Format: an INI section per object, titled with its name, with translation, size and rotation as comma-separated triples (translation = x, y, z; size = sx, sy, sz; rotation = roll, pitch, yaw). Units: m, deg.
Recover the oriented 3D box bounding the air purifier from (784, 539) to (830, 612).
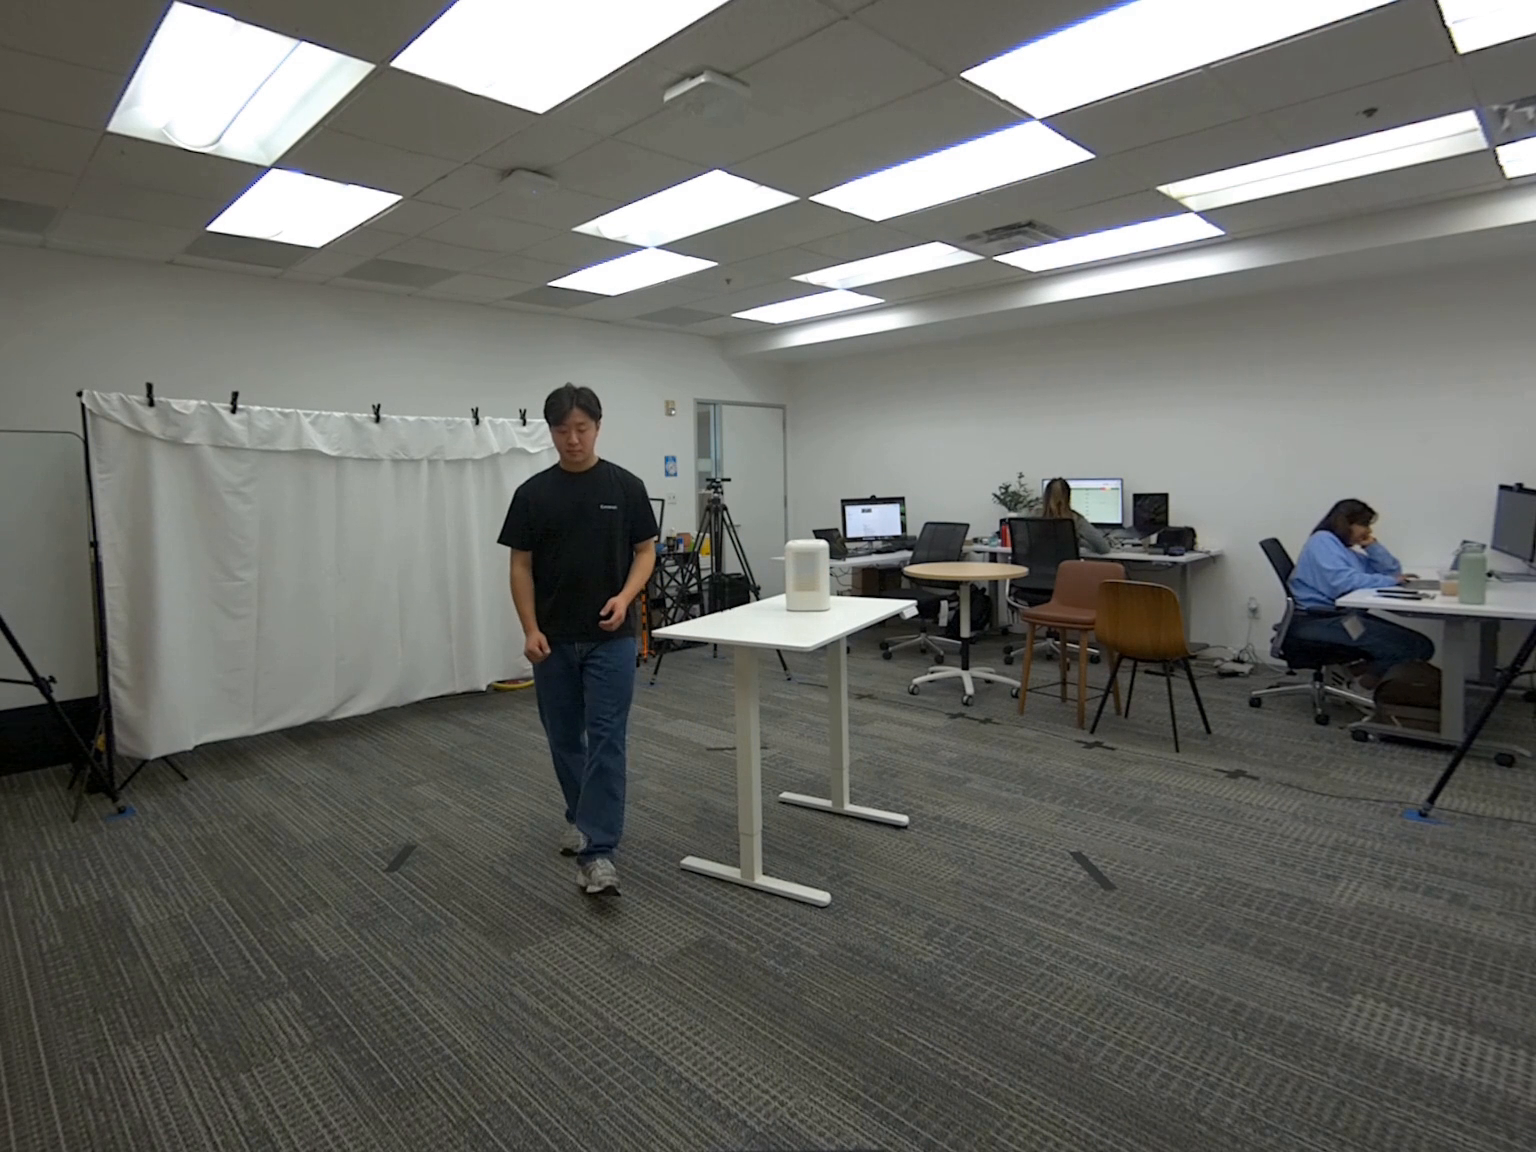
[air purifier]
translation = 0.155, -0.004, 3.335
size = 0.173, 0.264, 0.170
rotation = -1, 4, 10
